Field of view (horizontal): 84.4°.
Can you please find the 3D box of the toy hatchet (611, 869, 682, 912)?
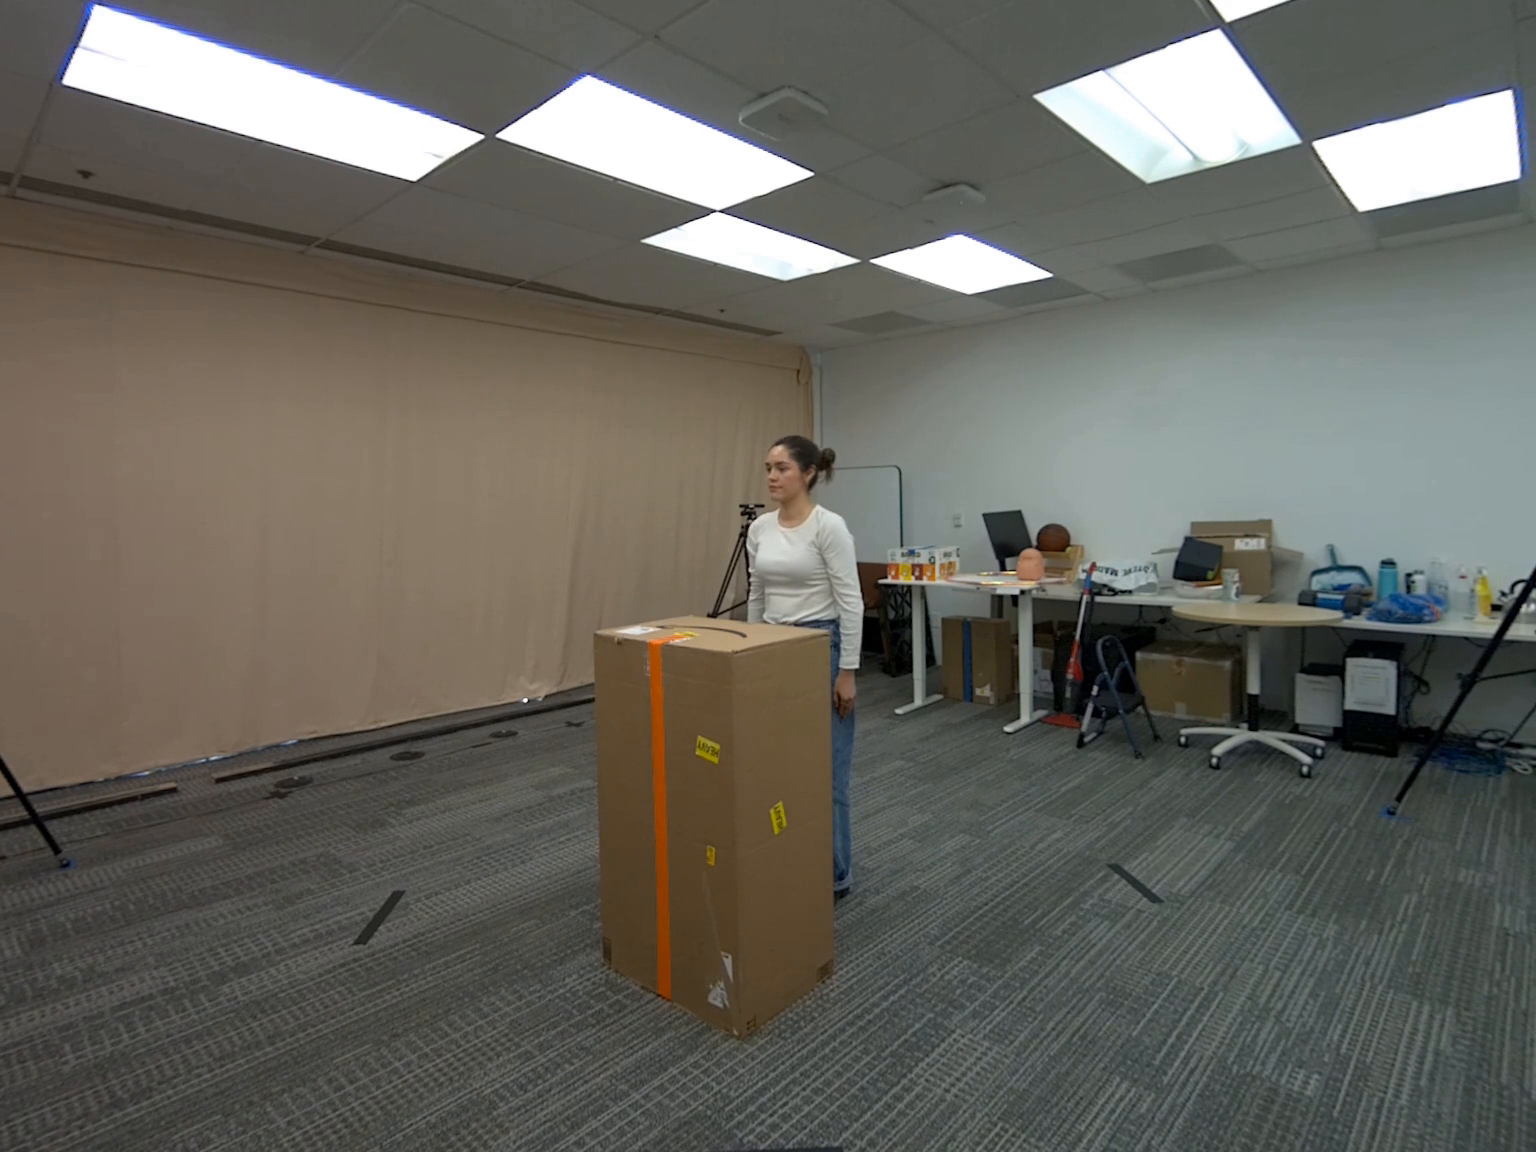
[{"bbox_3d":[-0.439,1.133,3.067,0.134,0.029,0.264,-2,2,25],"label":"toy hatchet"}]
